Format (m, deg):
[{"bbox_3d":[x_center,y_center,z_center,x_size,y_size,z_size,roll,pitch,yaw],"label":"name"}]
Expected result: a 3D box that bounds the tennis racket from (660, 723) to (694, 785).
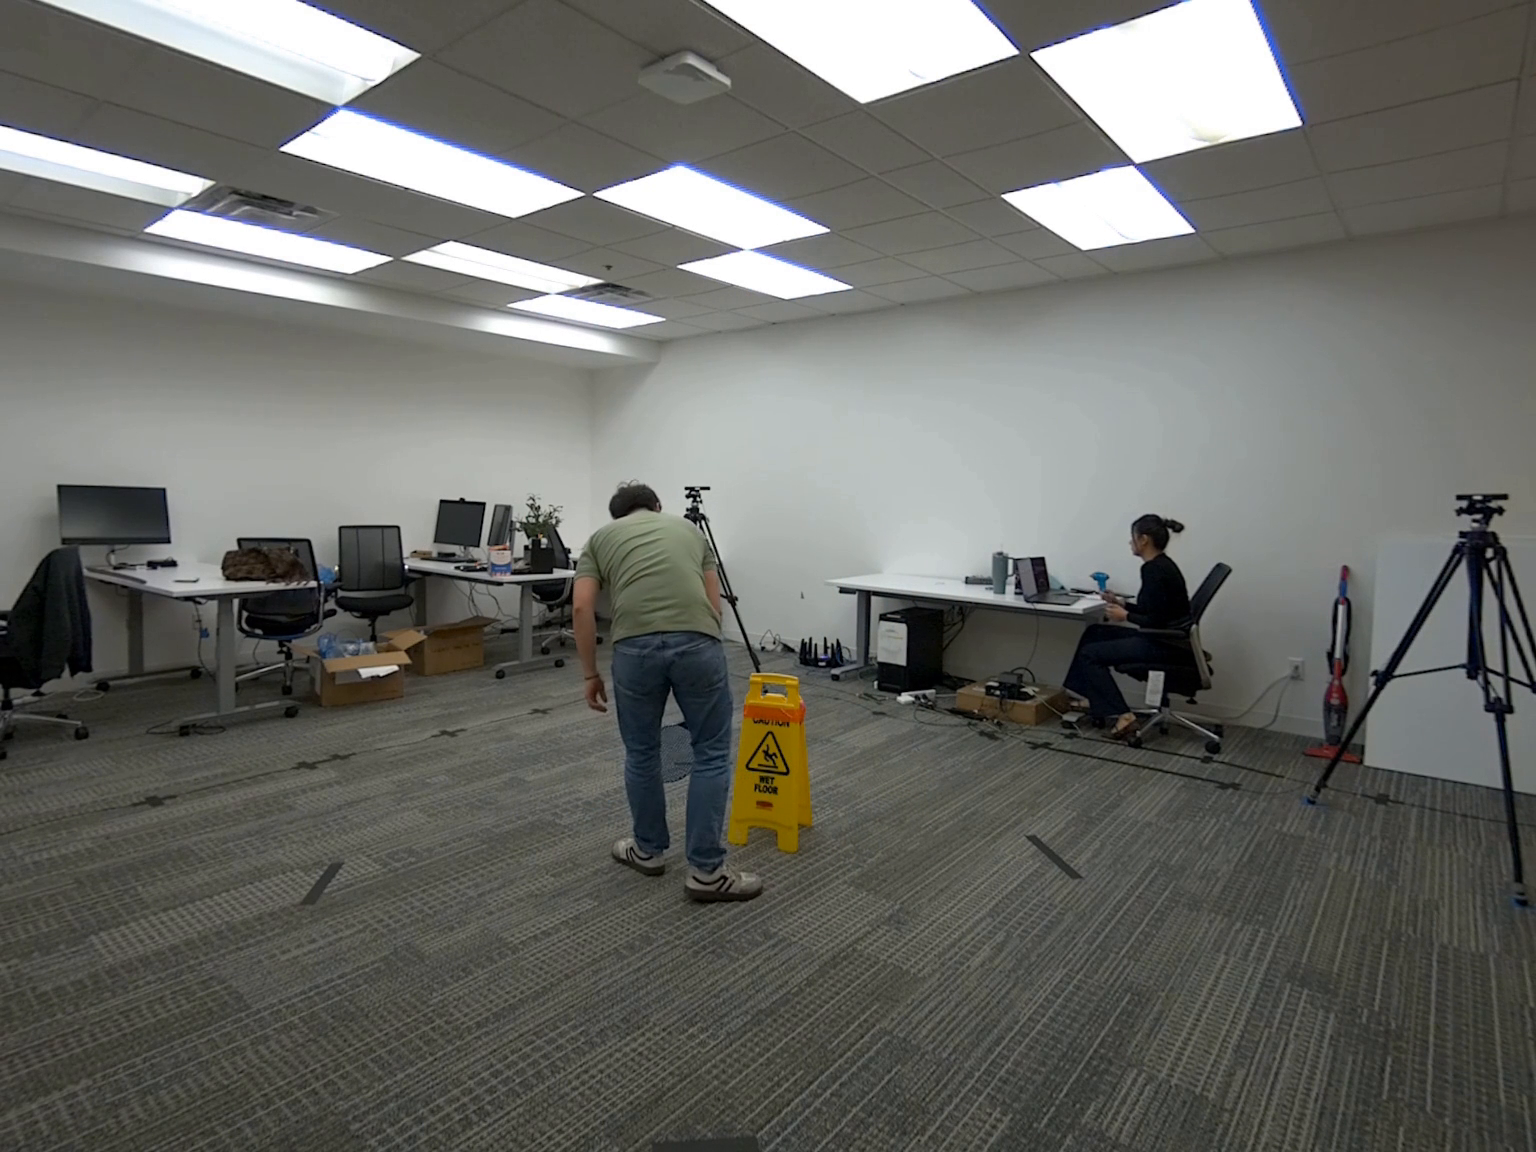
[{"bbox_3d":[-0.349,0.633,3.241,0.211,0.431,0.032,26,7,-7],"label":"tennis racket"}]
